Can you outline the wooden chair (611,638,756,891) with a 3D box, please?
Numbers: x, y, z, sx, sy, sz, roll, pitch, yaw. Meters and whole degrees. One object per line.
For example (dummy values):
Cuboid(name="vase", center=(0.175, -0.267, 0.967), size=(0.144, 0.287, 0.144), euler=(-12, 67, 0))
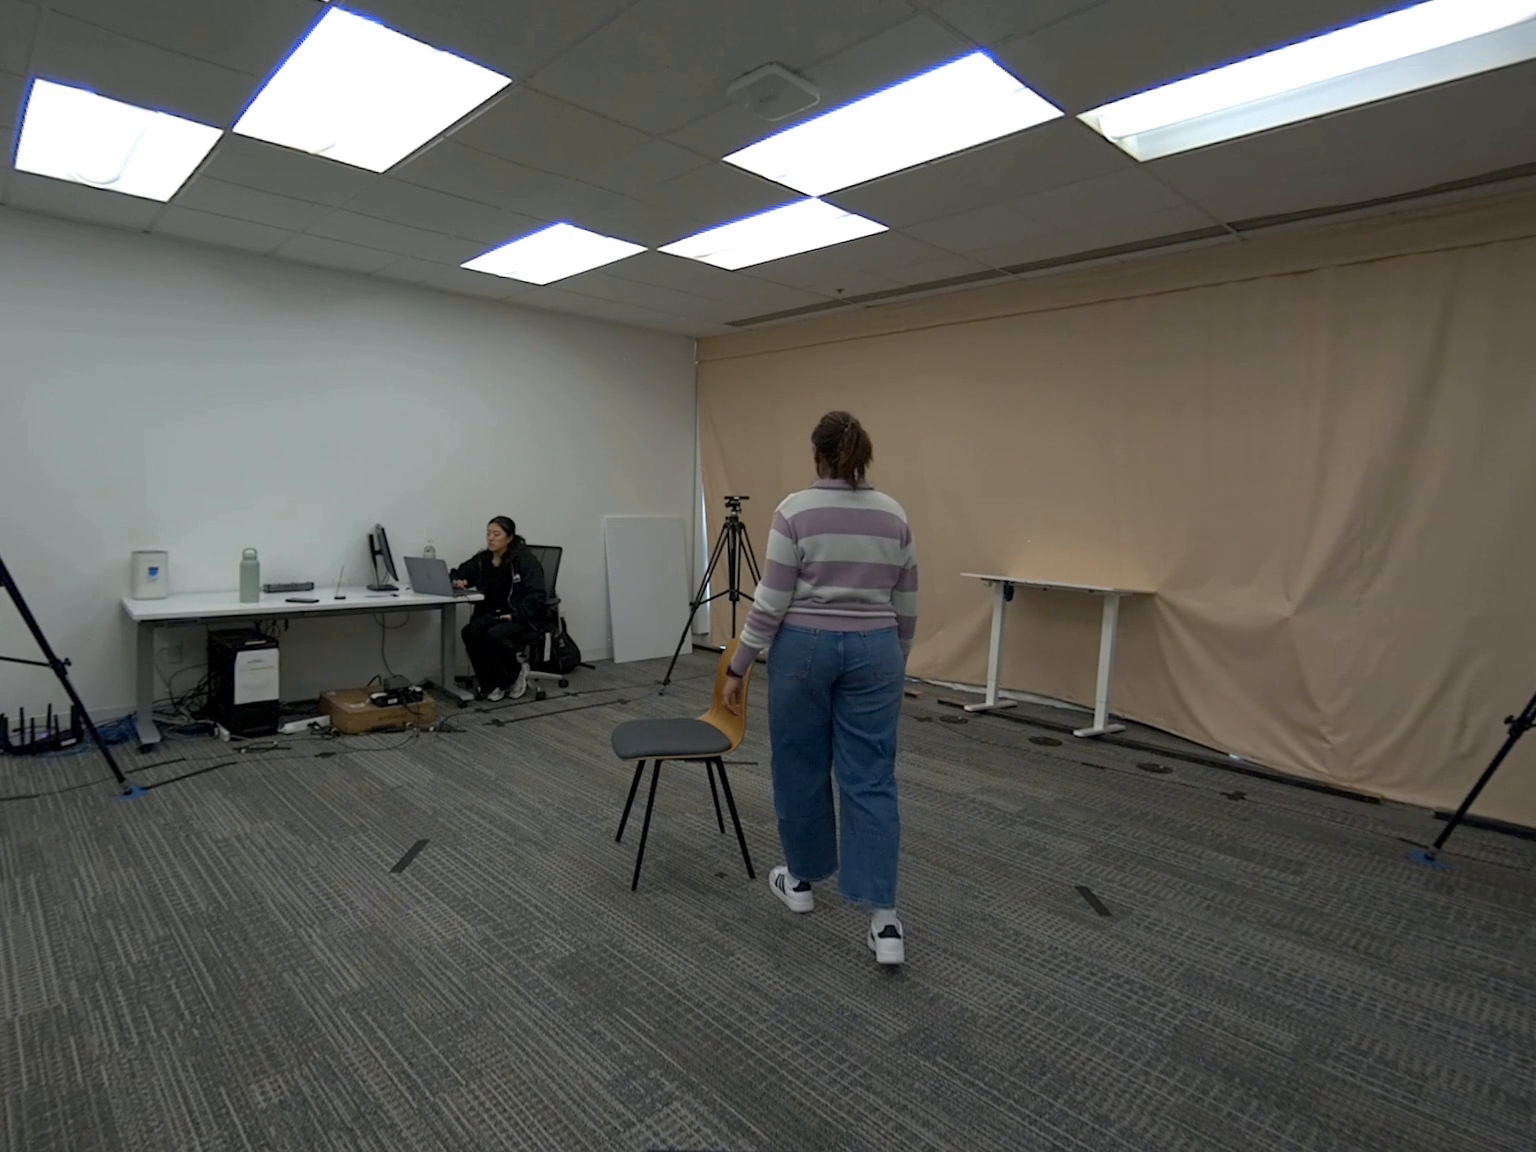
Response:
Cuboid(name="wooden chair", center=(-0.332, 0.664, 3.198), size=(0.516, 0.876, 0.485), euler=(4, 3, -17))
